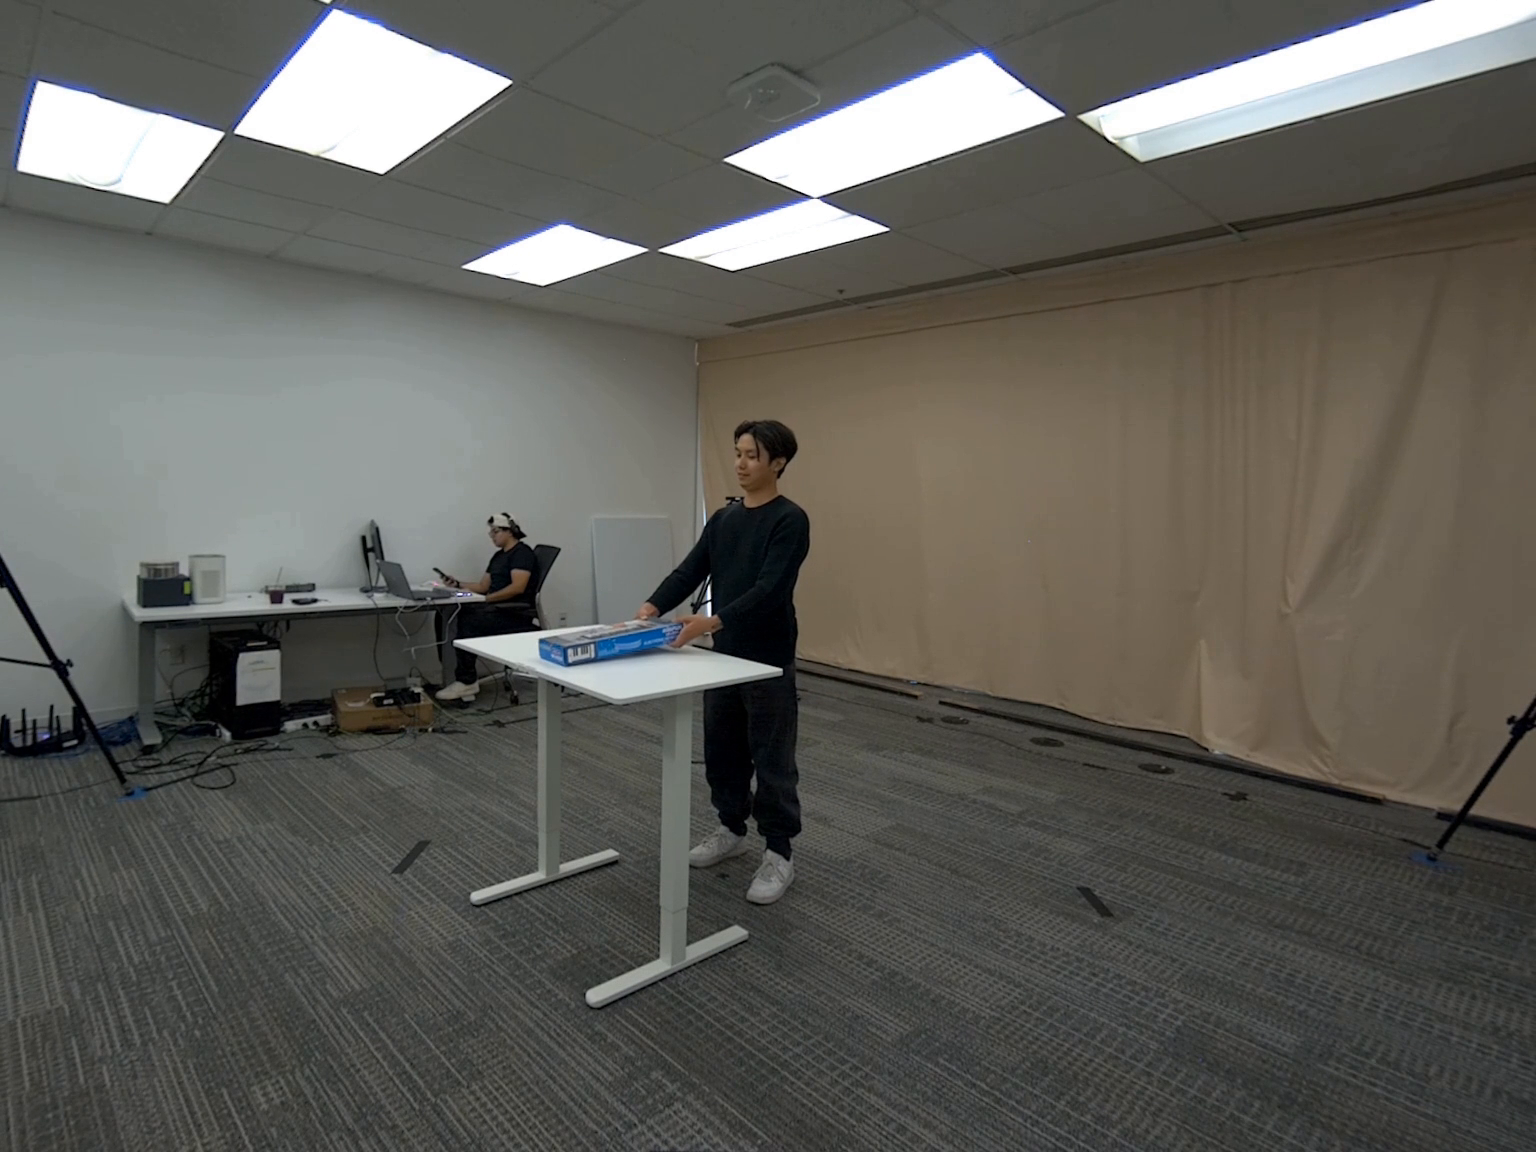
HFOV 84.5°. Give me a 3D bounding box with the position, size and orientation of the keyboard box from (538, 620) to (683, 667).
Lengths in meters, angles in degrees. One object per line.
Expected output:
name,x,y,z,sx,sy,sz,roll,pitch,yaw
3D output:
keyboard box,-0.504,0.207,2.687,0.428,0.059,0.180,-8,10,-38
